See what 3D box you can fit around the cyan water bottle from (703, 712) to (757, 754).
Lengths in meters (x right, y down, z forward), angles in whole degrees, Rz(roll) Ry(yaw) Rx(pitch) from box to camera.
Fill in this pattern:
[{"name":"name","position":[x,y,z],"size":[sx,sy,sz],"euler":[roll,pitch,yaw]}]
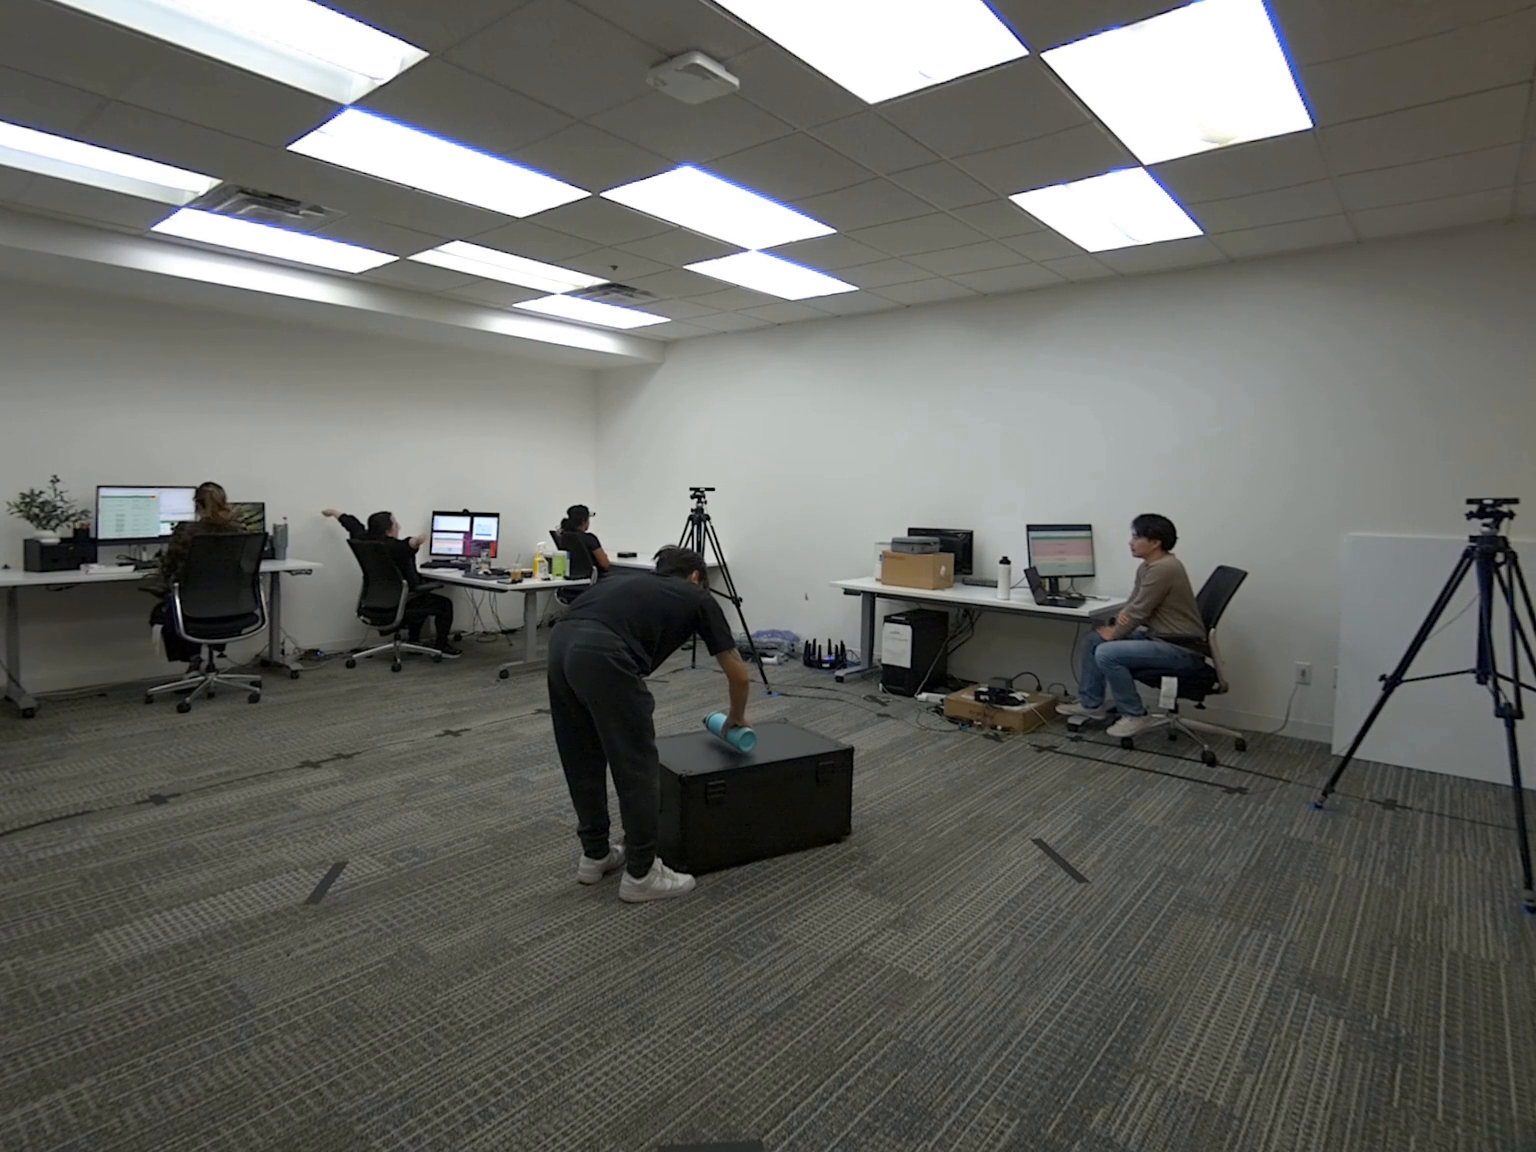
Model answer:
[{"name":"cyan water bottle","position":[-0.173,0.604,3.370],"size":[0.090,0.092,0.293],"euler":[-2,9,-33]}]
